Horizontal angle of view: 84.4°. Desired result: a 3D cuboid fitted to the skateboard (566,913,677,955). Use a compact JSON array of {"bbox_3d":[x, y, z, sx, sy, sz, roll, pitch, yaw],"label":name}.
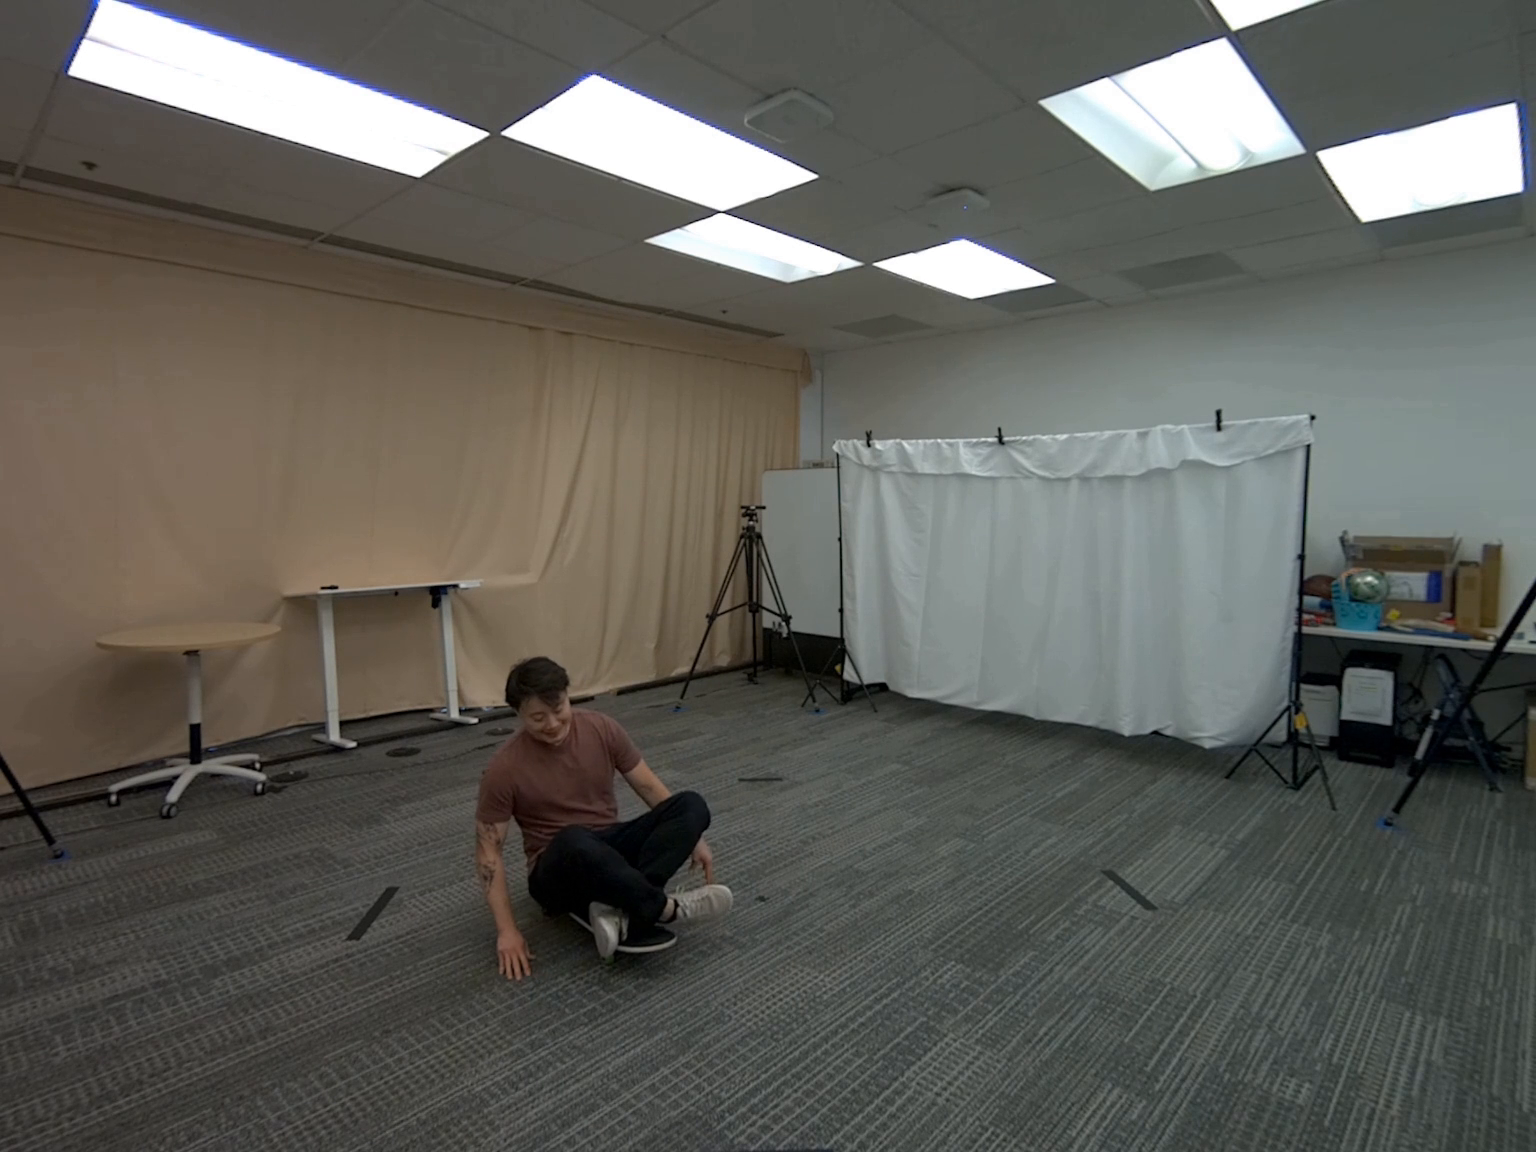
[{"bbox_3d":[-0.576,1.115,2.758,0.187,0.110,0.810,1,2,-37],"label":"skateboard"}]
